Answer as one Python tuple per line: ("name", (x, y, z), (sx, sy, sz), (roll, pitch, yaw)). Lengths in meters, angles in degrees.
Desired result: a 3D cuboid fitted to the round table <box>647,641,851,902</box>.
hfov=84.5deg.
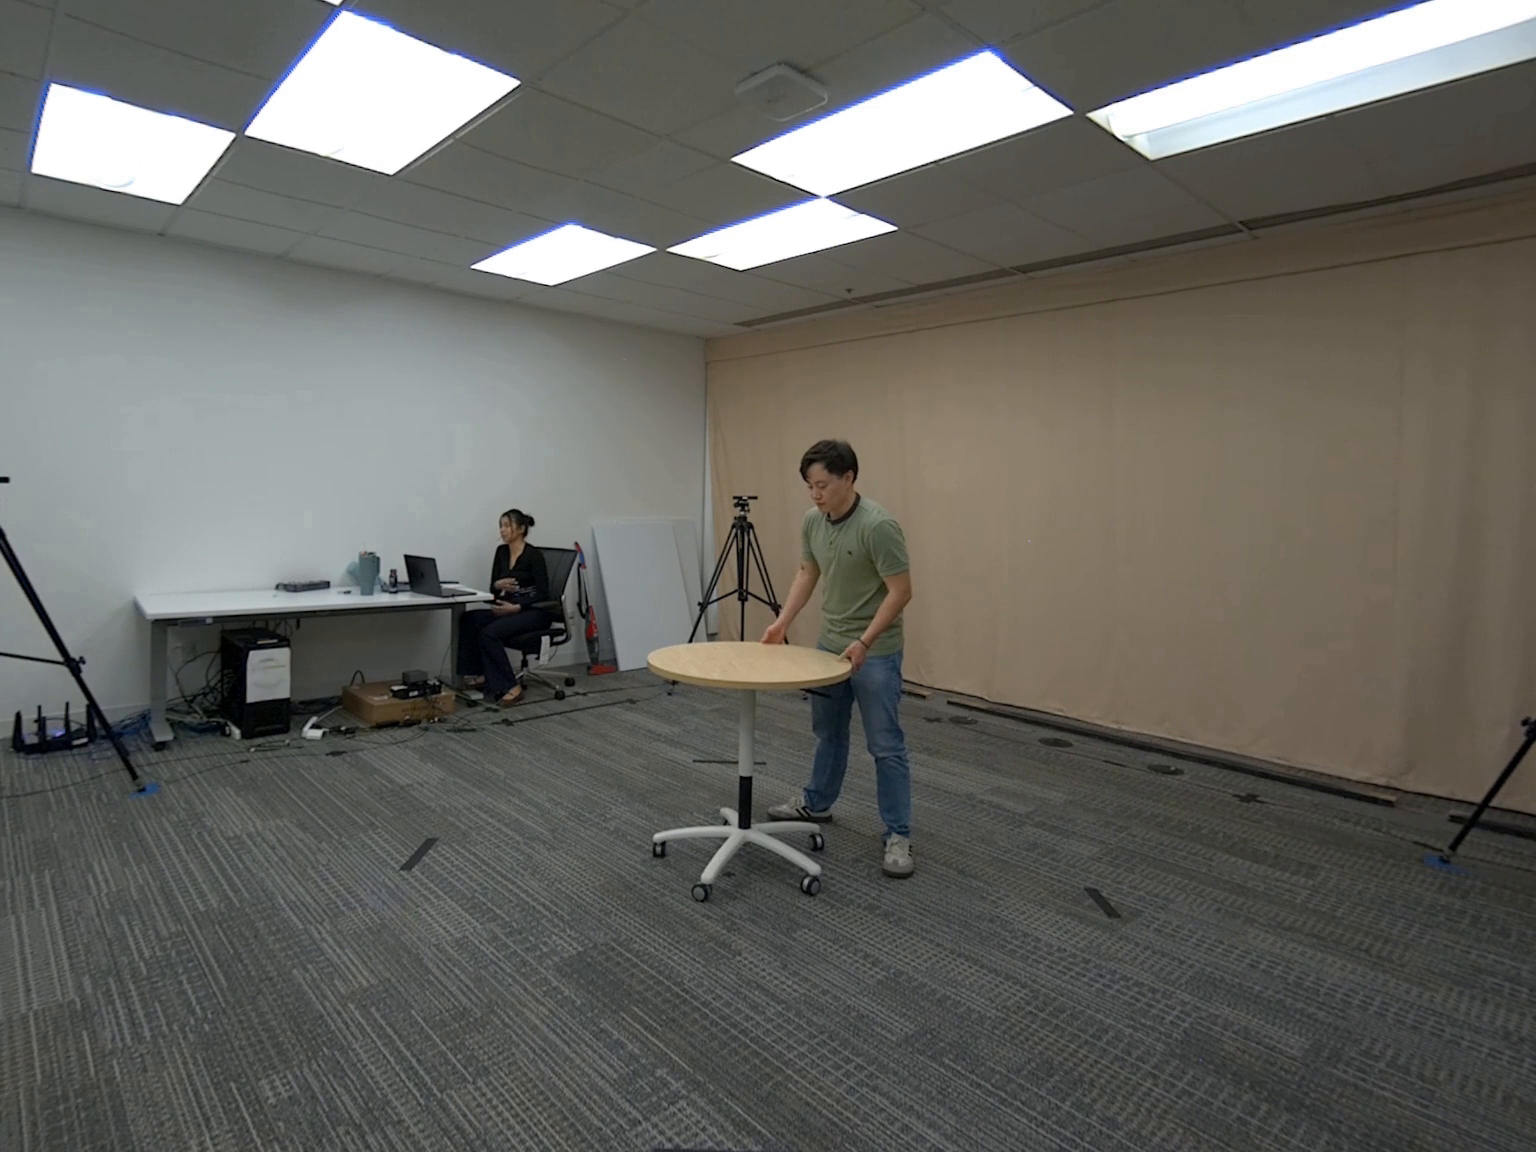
("round table", (-0.085, 0.709, 3.175), (0.763, 0.792, 0.767), (2, 4, -1))
